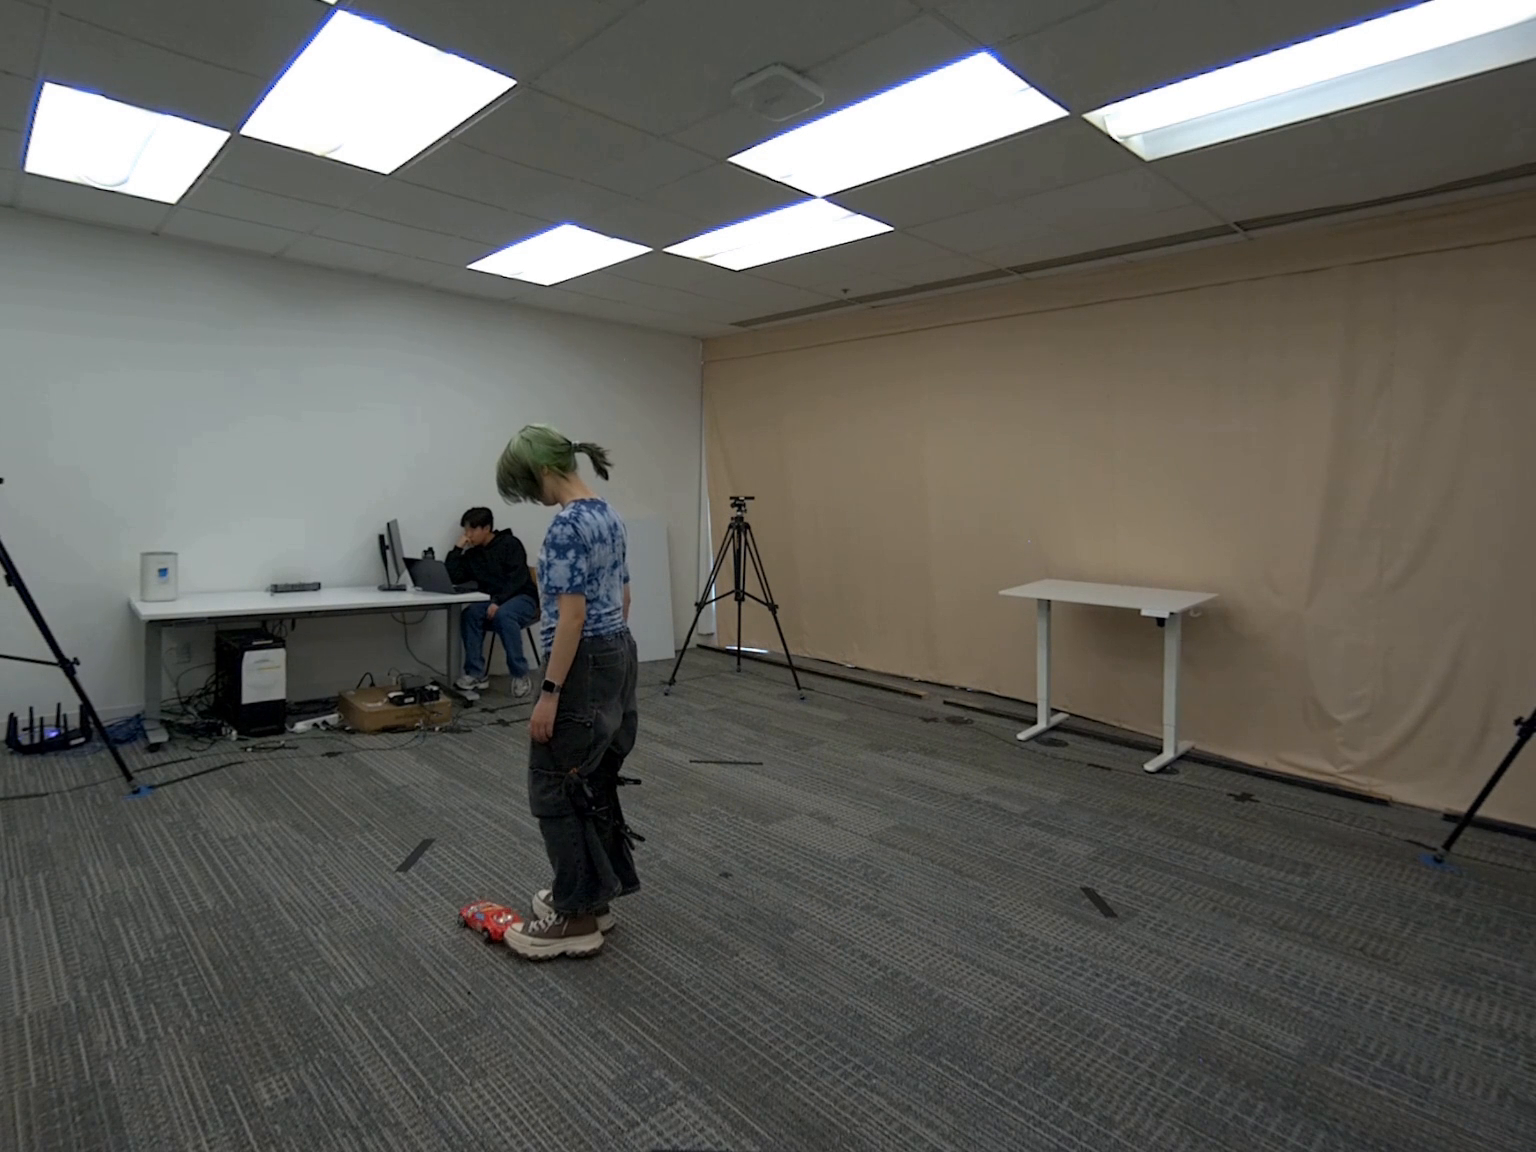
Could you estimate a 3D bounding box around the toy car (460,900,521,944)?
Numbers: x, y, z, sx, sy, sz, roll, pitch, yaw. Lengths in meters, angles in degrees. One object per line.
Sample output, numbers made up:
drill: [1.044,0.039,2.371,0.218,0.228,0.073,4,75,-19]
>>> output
toy car: [-0.871,1.091,2.664,0.259,0.083,0.127,-10,-3,41]
